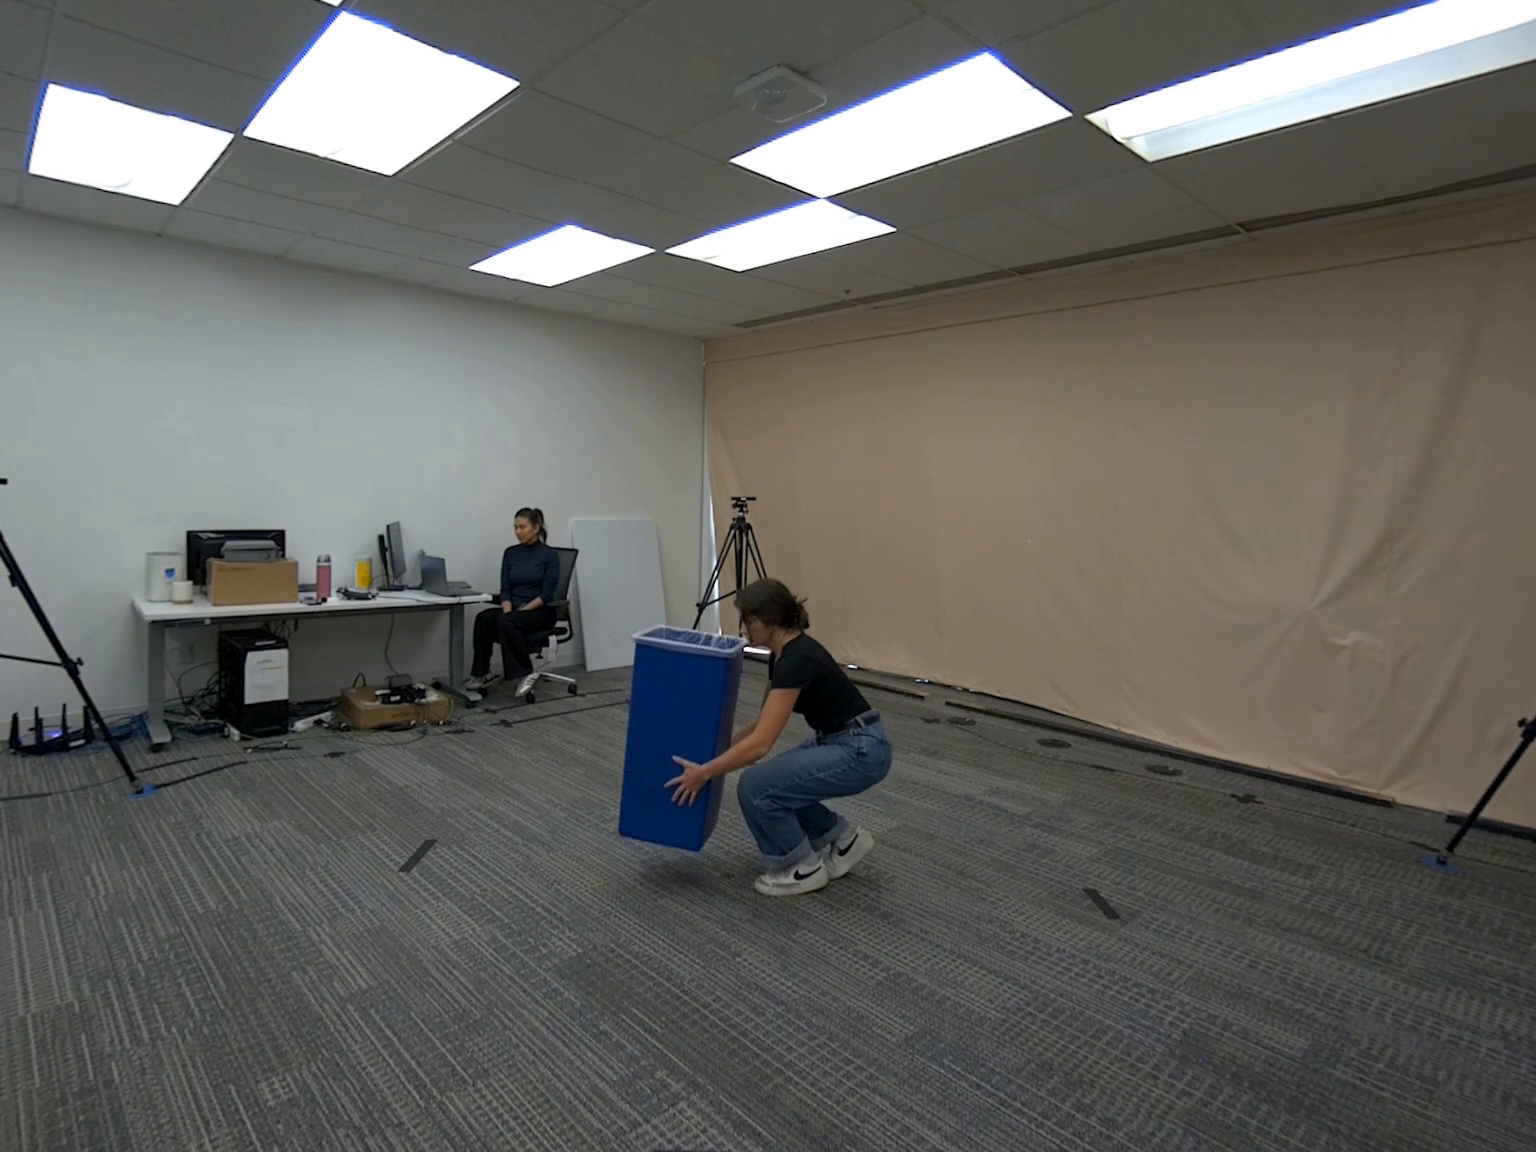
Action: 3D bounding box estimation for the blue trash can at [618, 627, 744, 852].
[{"bbox_3d":[-0.315,0.569,3.056,0.381,0.713,0.371,7,1,9],"label":"blue trash can"}]
